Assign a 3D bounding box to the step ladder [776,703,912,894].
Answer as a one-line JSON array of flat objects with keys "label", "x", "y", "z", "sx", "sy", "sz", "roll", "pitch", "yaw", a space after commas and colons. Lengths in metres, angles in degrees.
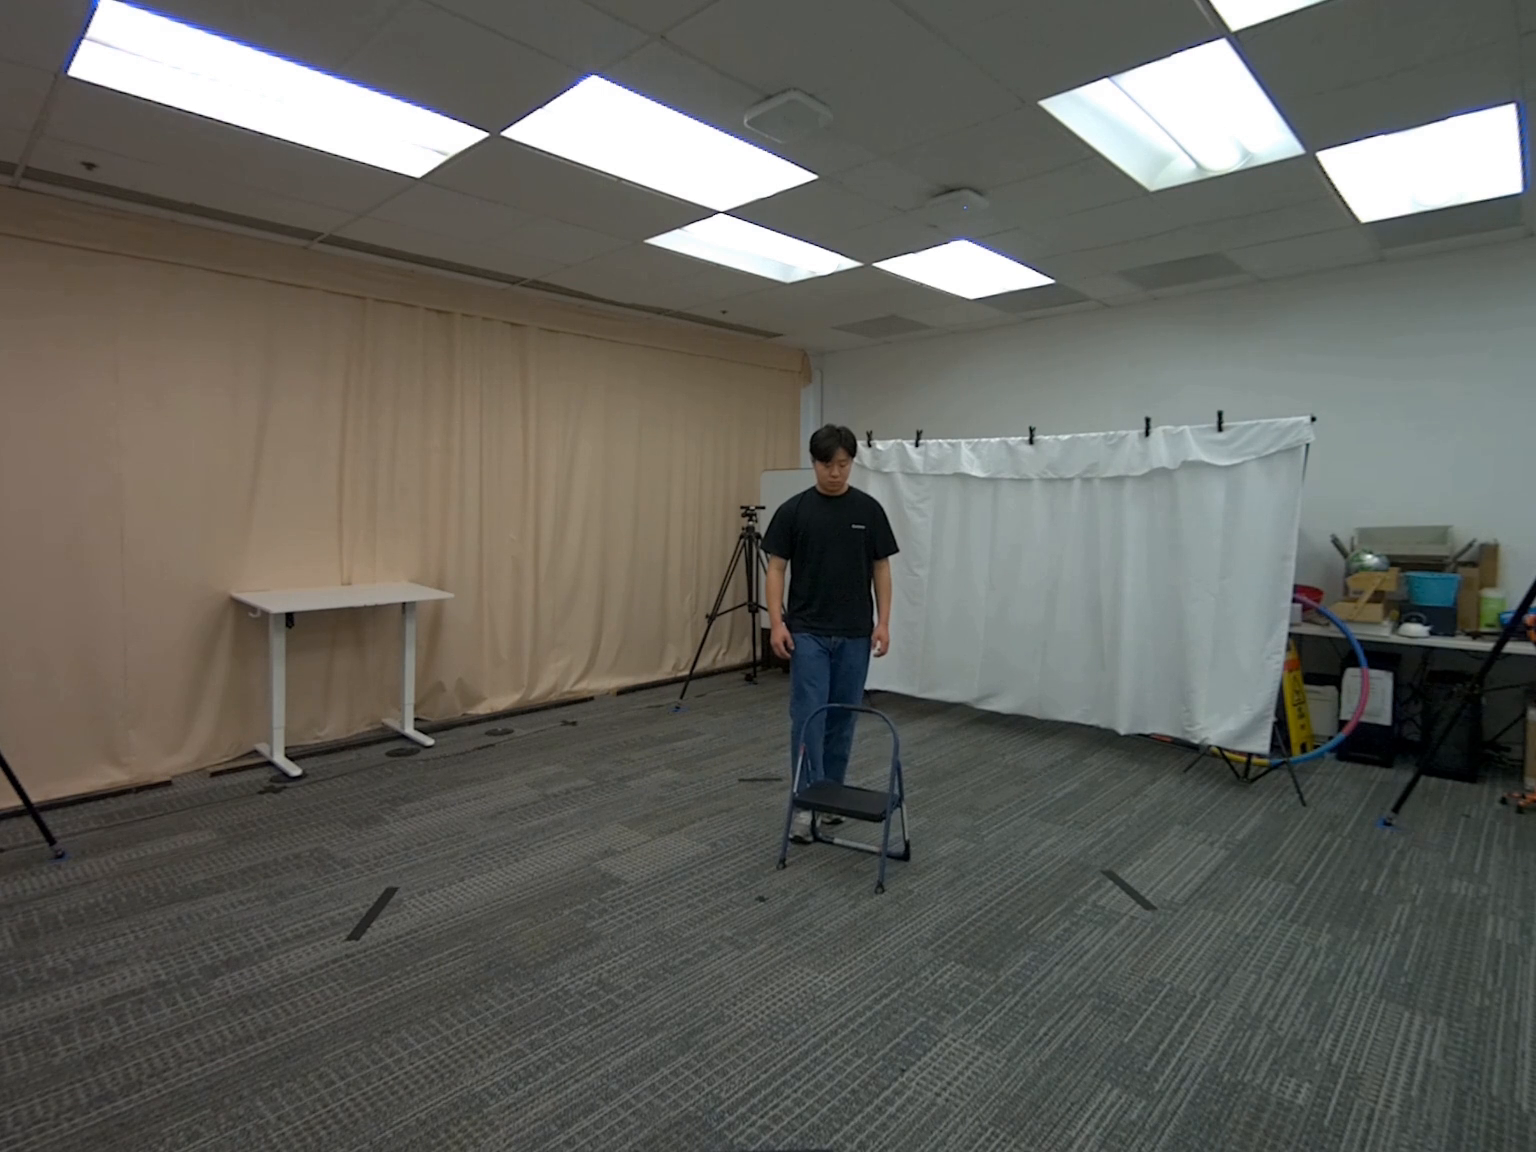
[{"label": "step ladder", "x": 0.306, "y": 0.812, "z": 3.259, "sx": 0.443, "sy": 0.605, "sz": 0.340, "roll": 2, "pitch": 3, "yaw": 30}]
